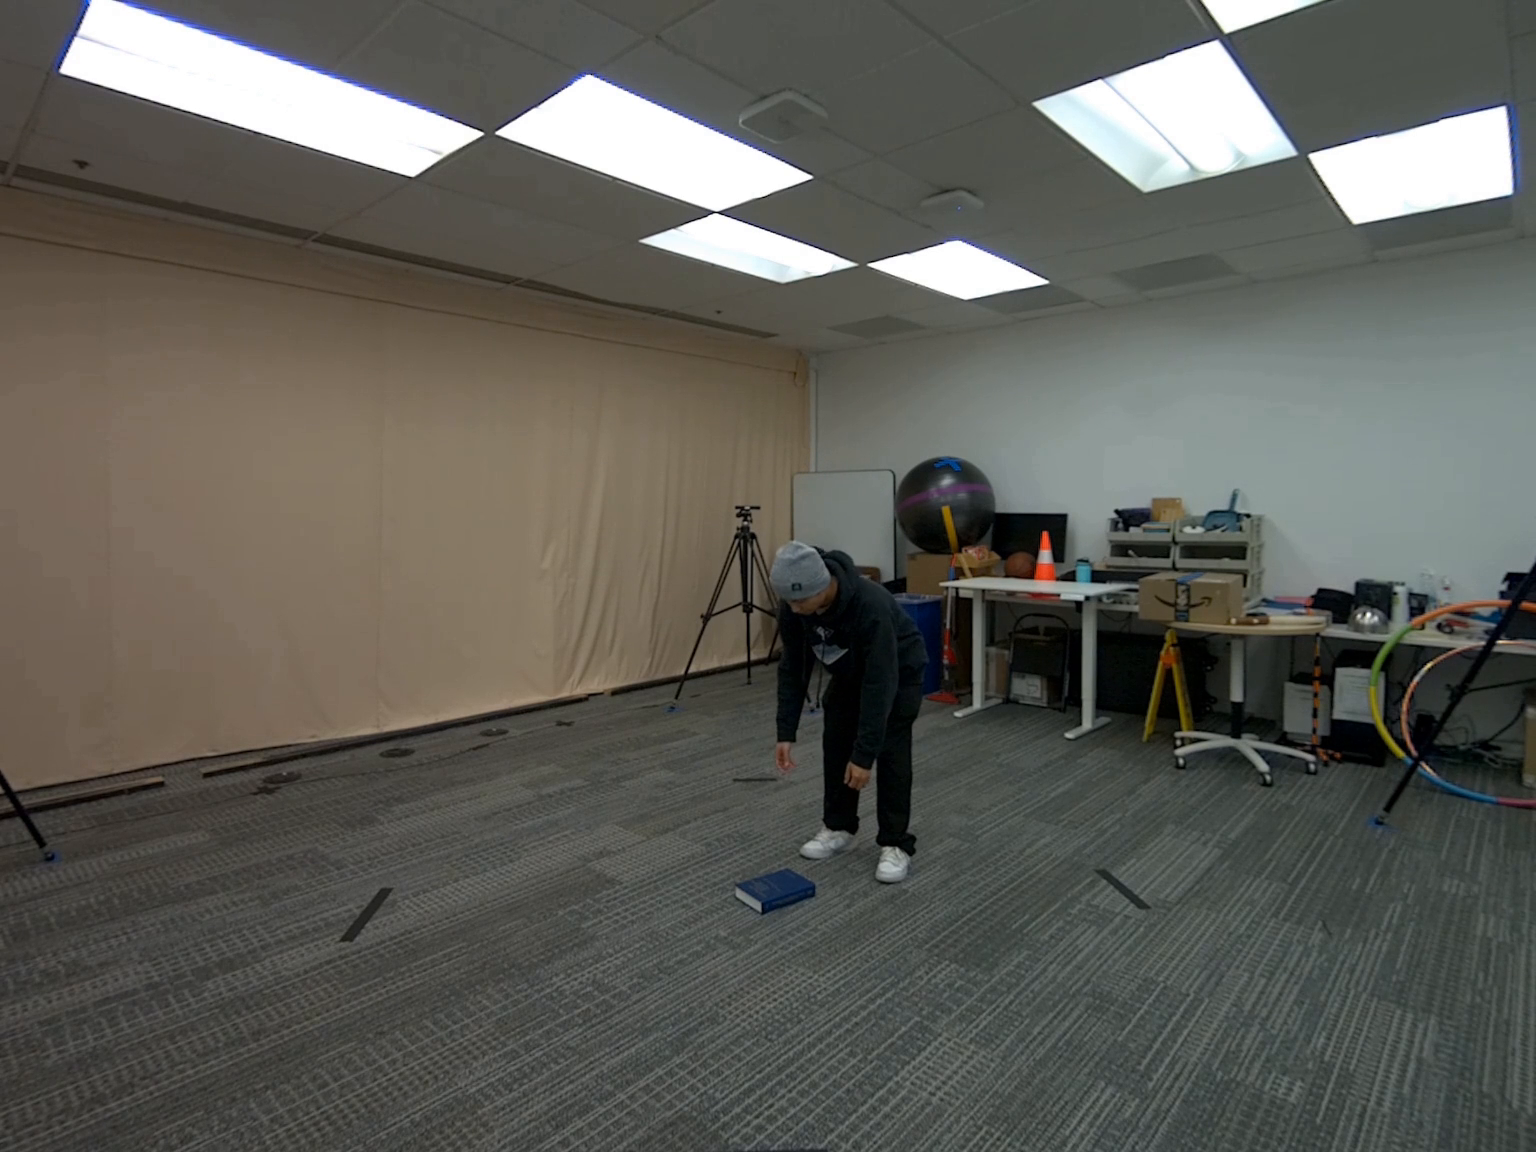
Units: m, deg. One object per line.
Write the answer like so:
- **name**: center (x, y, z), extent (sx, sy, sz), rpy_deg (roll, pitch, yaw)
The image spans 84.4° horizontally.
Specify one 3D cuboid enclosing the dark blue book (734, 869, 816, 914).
- **dark blue book**: center (0.028, 1.118, 2.997), extent (0.238, 0.045, 0.168), rpy_deg (-4, 6, -36)
